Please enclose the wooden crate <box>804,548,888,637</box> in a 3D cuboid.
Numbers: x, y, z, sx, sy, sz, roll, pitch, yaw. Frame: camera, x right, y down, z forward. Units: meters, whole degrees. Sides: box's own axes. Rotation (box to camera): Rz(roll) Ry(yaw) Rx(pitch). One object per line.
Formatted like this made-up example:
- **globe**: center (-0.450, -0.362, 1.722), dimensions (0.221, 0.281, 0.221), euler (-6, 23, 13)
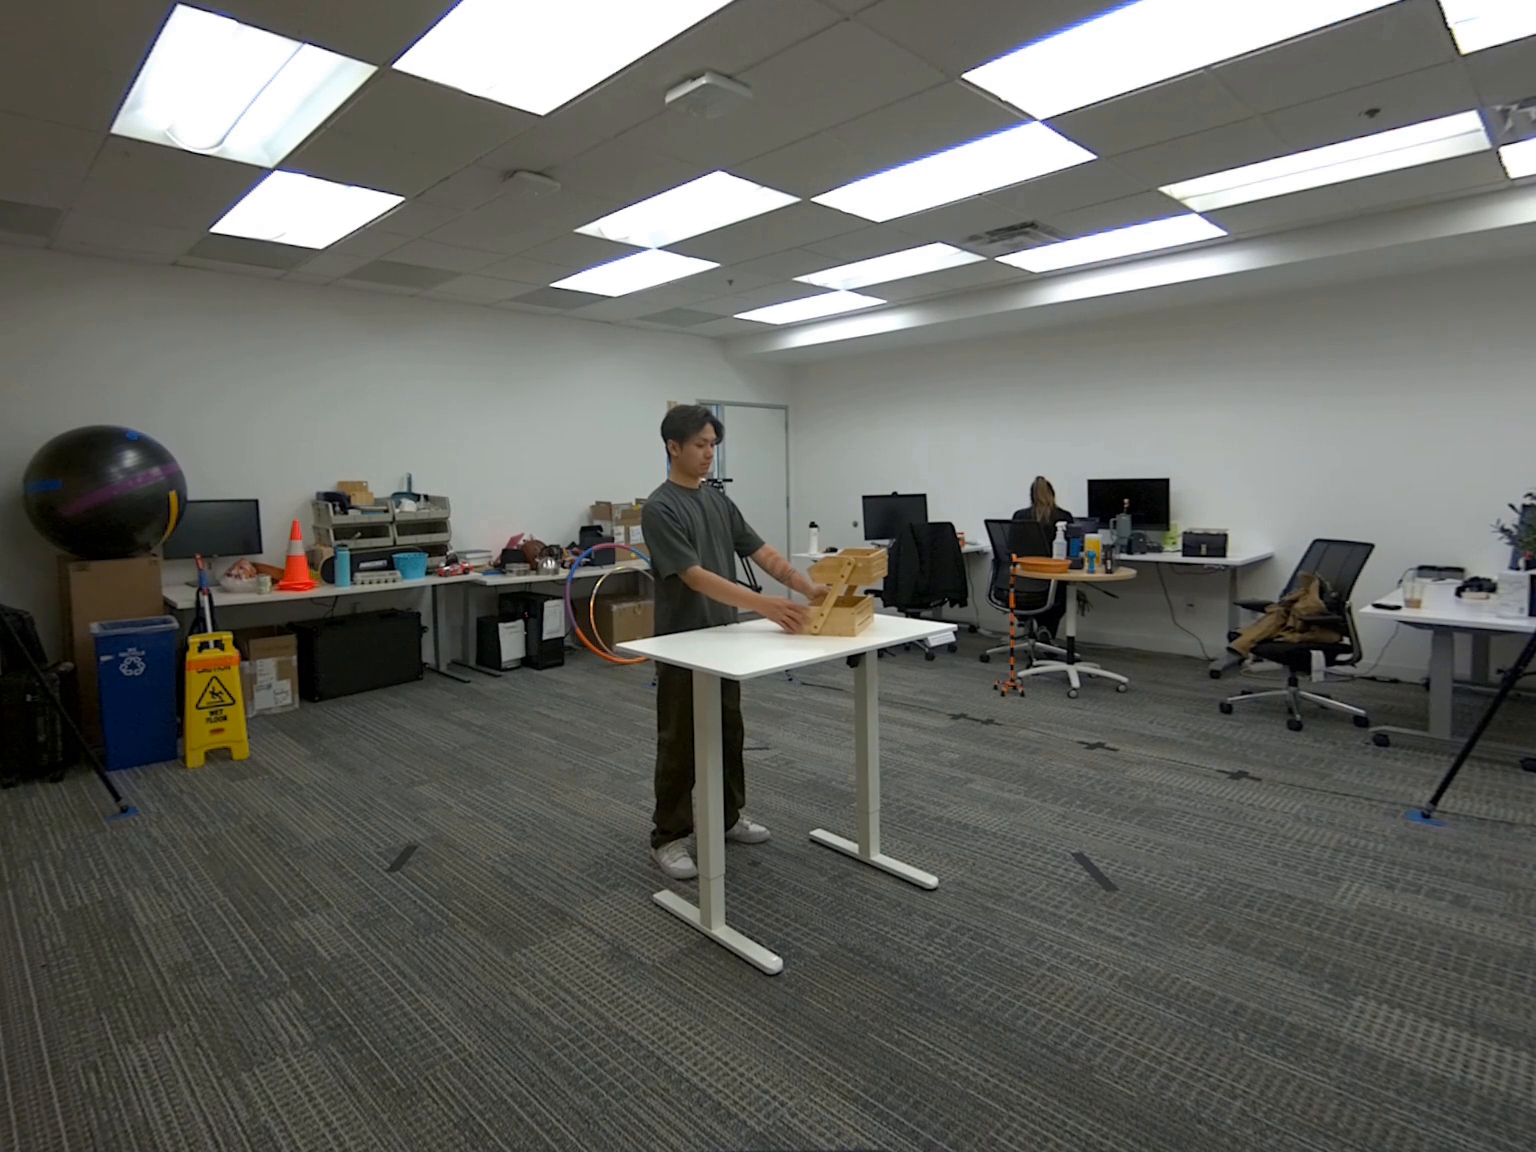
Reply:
- **wooden crate**: center (0.230, 0.047, 2.911), dimensions (0.308, 0.272, 0.320), euler (0, 6, 20)
